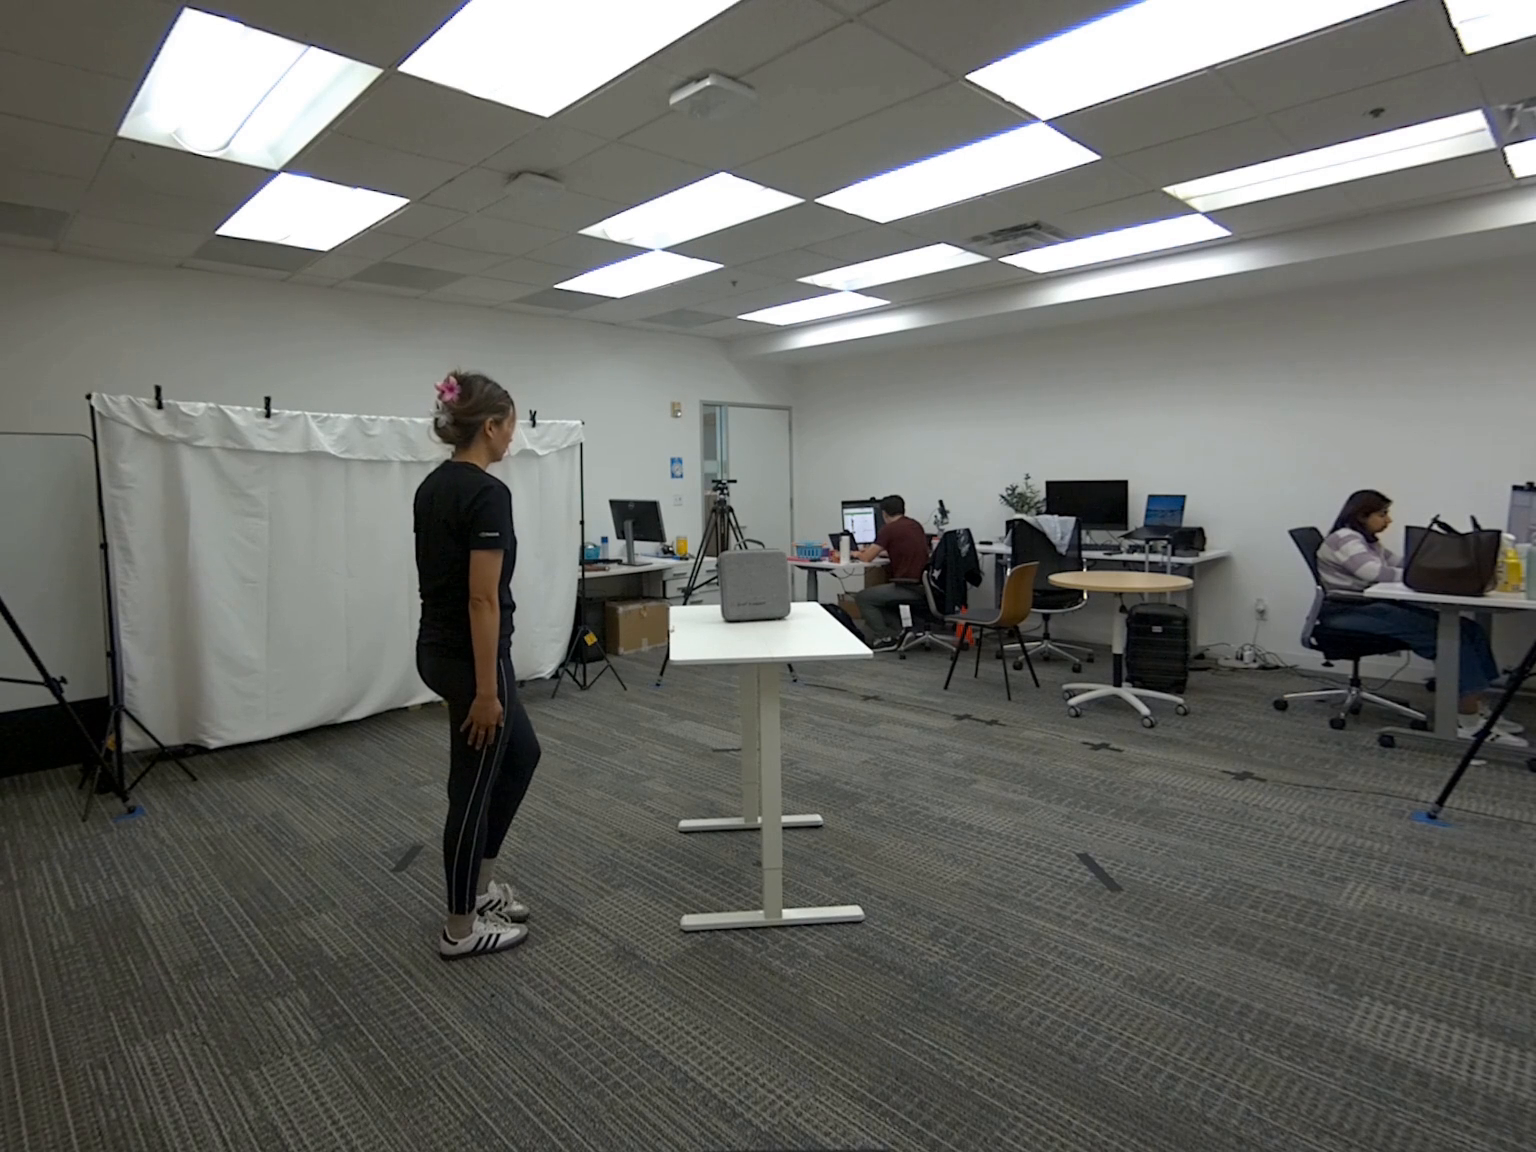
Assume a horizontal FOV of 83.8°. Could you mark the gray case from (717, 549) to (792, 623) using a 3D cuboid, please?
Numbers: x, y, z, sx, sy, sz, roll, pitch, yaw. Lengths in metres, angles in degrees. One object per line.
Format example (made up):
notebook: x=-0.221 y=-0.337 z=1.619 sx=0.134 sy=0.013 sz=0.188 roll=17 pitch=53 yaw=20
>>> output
gray case: x=-0.054 y=0.030 z=3.137 sx=0.254 sy=0.262 sz=0.105 roll=-2 pitch=-6 yaw=-12
